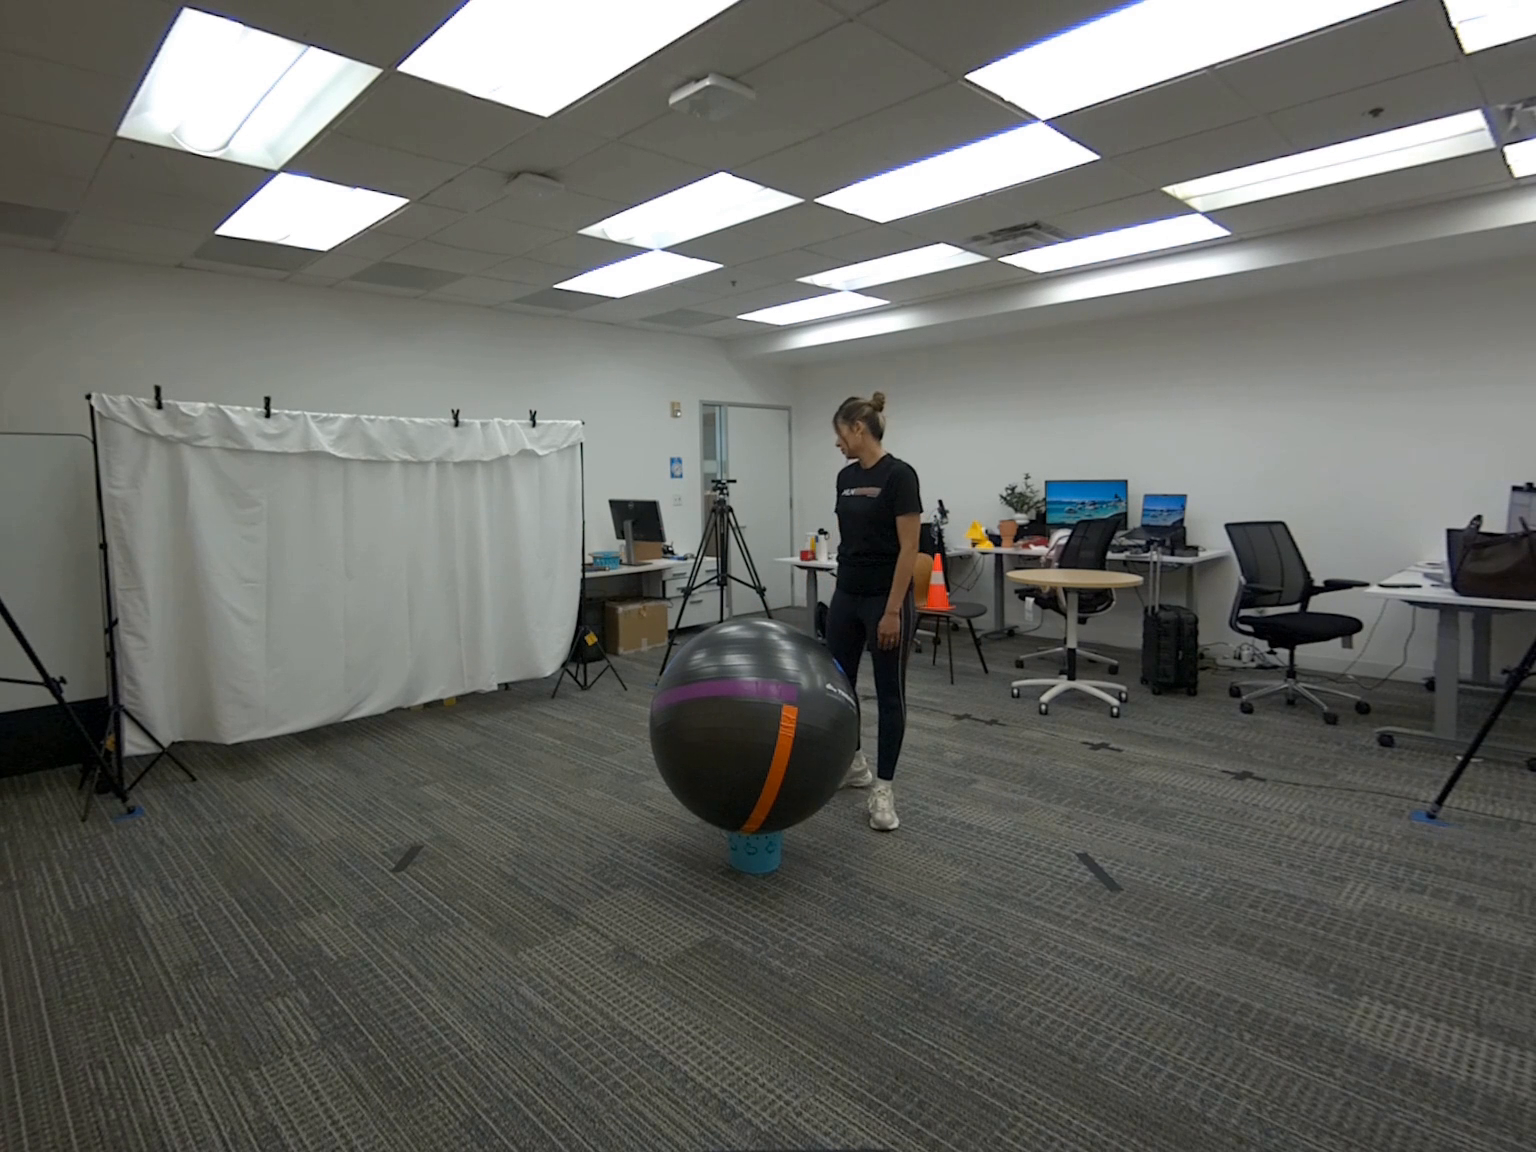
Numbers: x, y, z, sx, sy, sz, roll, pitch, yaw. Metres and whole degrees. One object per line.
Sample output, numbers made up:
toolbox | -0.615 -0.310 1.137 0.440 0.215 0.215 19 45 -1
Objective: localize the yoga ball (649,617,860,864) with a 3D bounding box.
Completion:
yoga ball | -0.051 0.537 3.106 0.757 0.755 0.762 -1 5 -2
